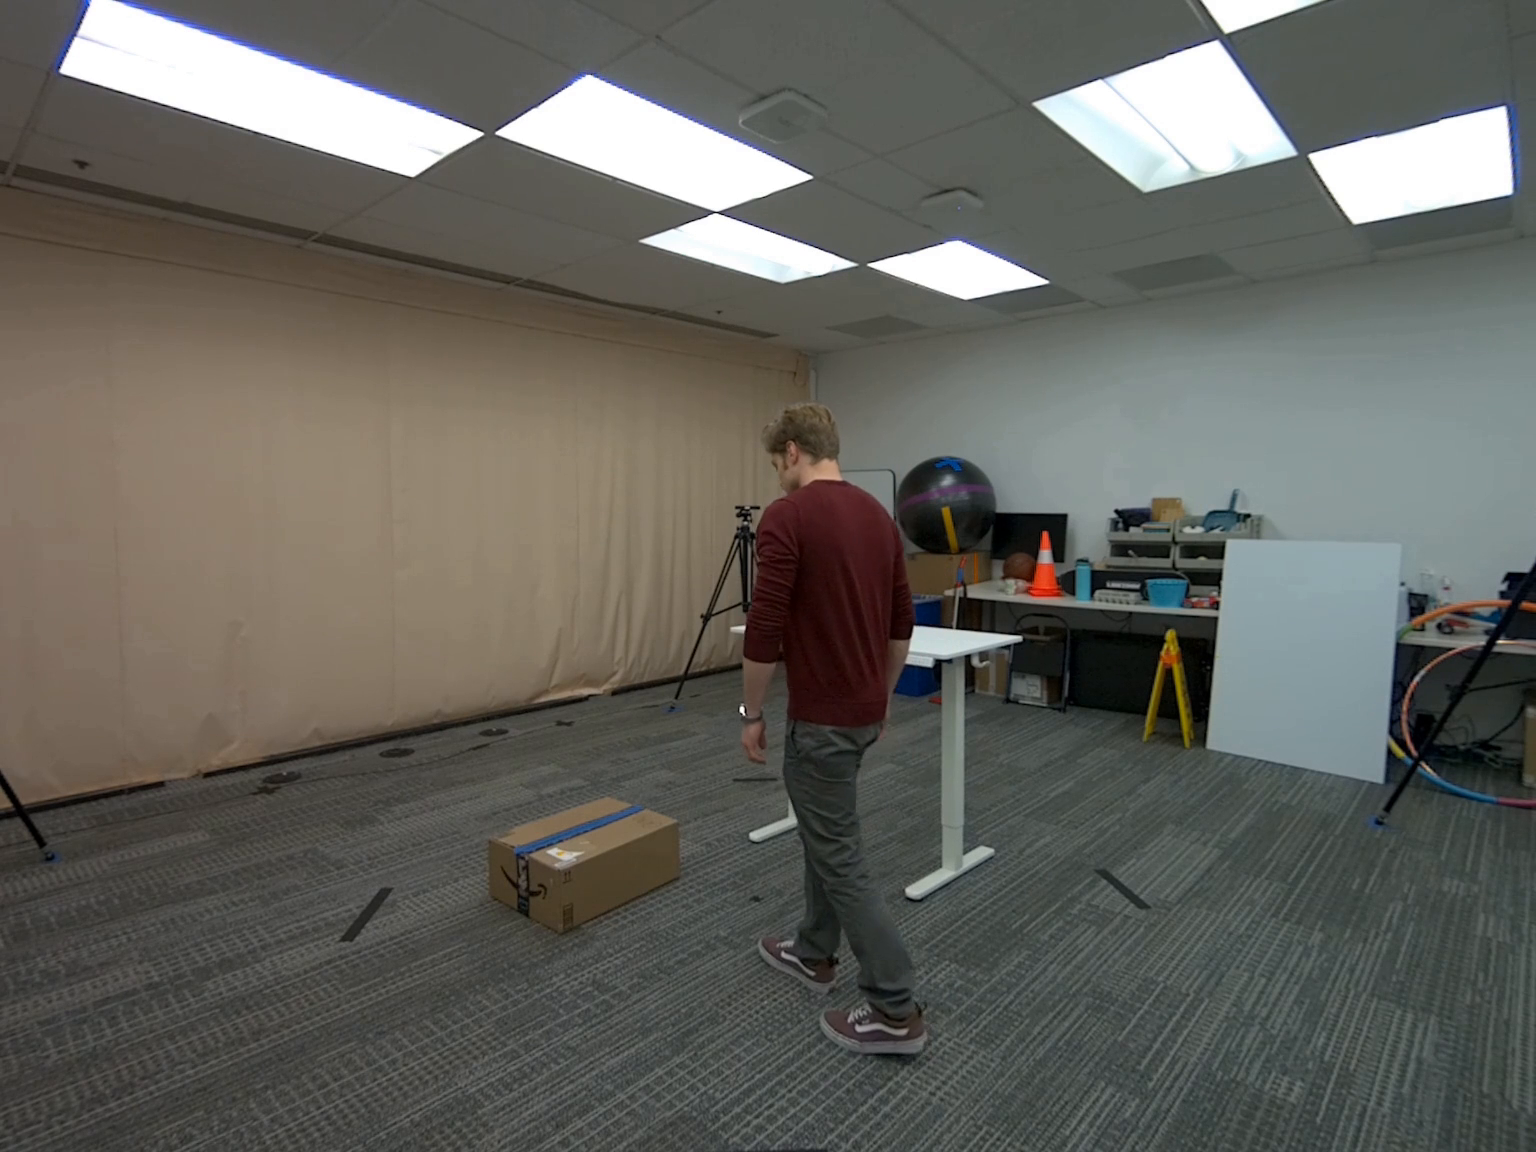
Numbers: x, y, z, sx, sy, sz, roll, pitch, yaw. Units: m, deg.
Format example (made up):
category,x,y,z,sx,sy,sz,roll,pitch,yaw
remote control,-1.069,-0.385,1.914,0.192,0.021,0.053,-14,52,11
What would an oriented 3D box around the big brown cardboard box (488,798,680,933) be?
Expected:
category,x,y,z,sx,sy,sz,roll,pitch,yaw
big brown cardboard box,-0.669,1.033,3.078,0.431,0.233,0.571,3,5,39
